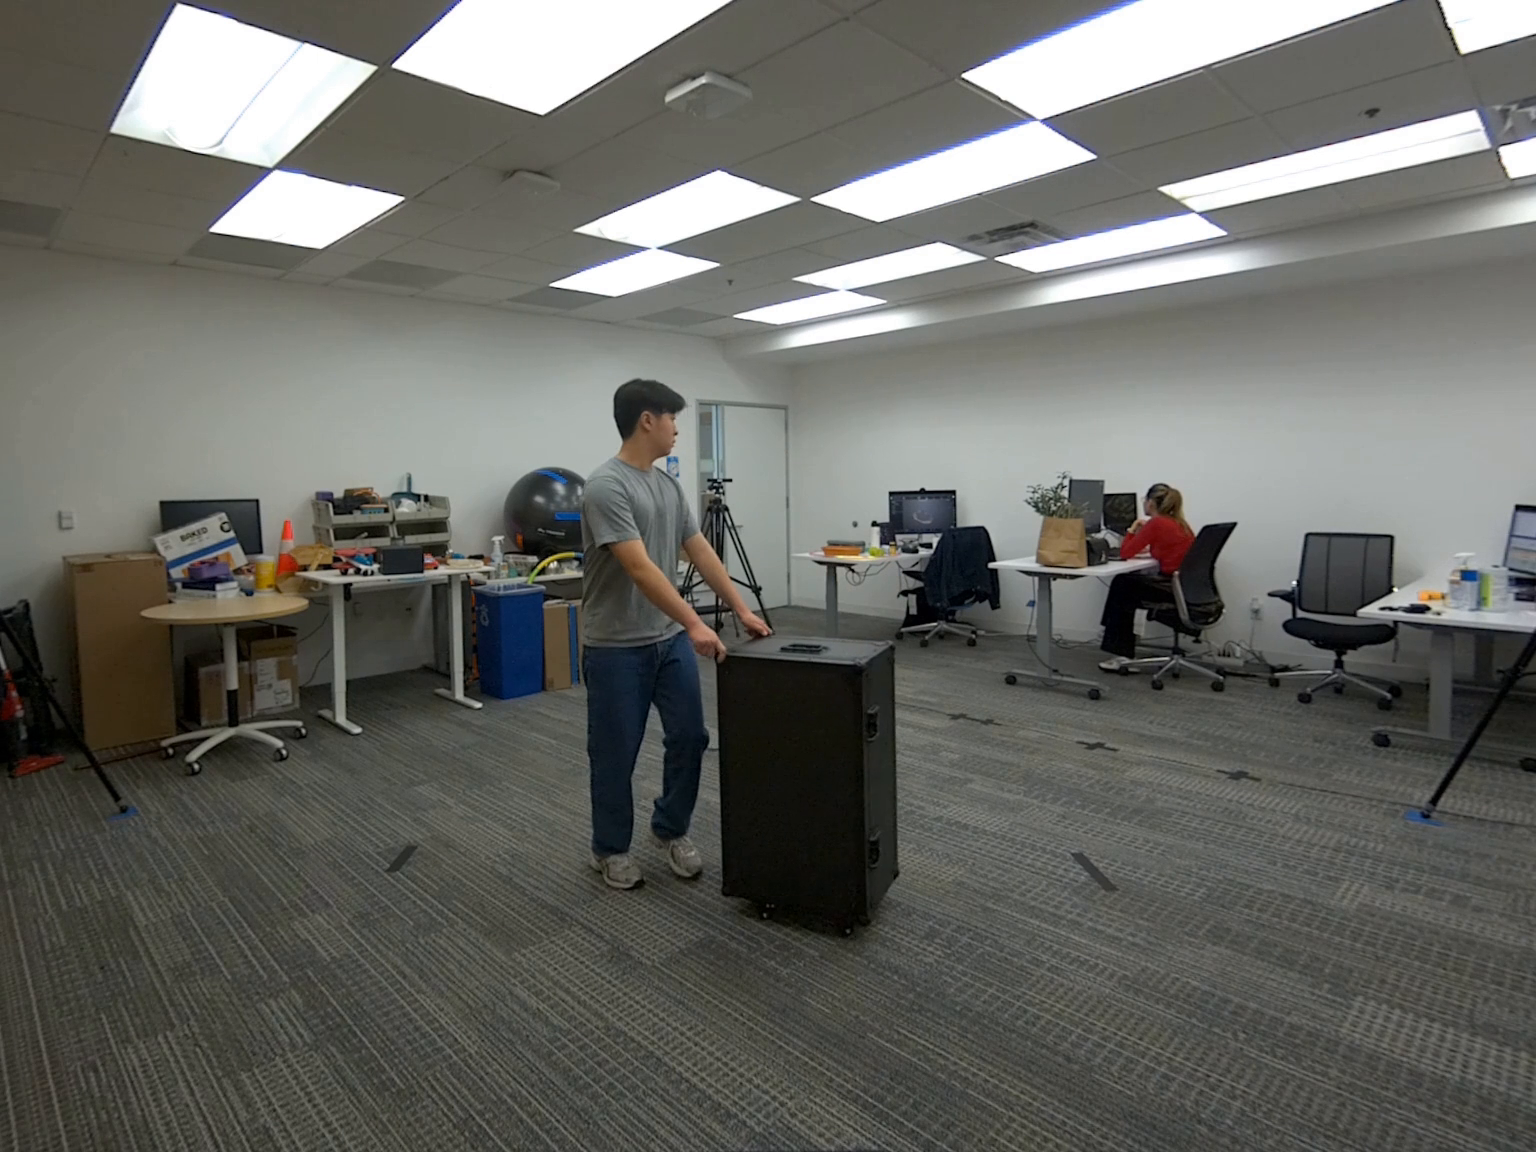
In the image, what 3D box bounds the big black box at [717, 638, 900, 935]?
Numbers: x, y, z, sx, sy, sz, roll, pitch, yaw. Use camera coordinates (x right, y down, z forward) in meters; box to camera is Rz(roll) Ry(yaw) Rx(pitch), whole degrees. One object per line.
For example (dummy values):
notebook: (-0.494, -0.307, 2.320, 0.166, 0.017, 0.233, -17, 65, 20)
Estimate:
big black box: (0.131, 0.659, 2.773, 0.533, 0.859, 0.388, 0, 4, 26)
